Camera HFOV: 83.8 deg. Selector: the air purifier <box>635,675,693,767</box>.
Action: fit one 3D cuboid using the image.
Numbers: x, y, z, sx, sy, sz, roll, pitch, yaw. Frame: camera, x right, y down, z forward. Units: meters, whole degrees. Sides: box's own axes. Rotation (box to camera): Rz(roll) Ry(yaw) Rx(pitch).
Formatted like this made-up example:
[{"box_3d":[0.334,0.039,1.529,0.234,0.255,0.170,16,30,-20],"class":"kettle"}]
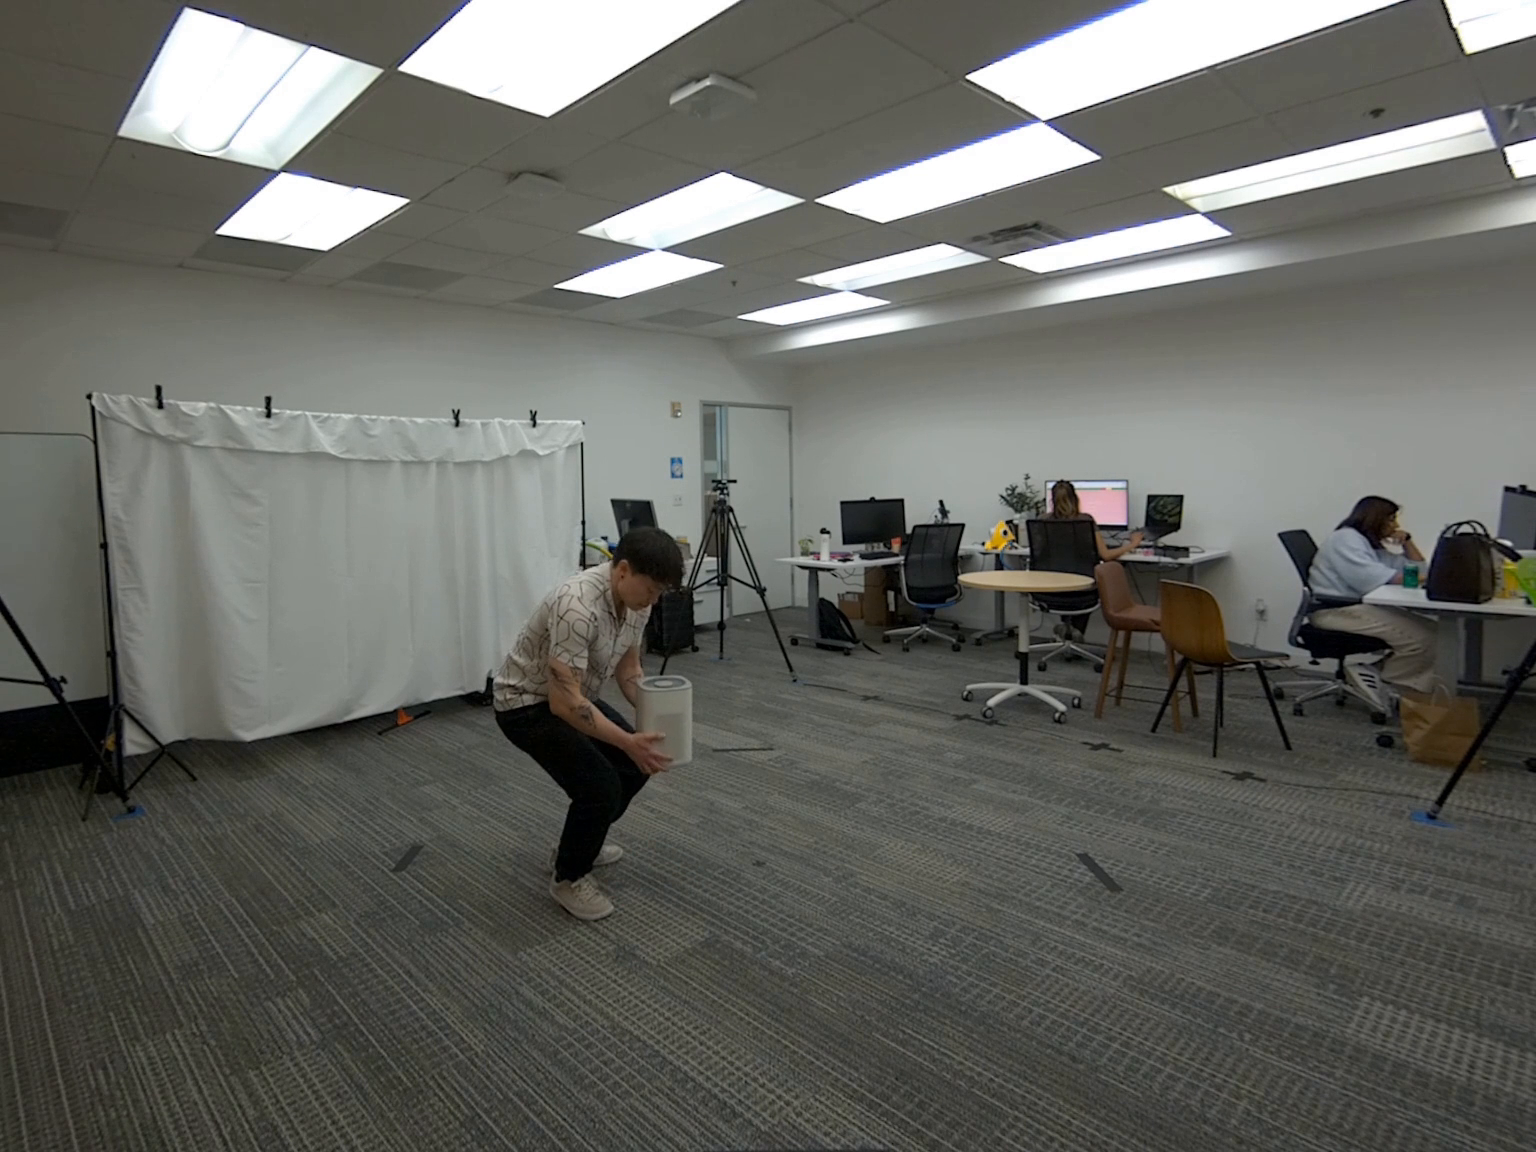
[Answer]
[{"box_3d":[-0.350,0.473,2.759,0.168,0.264,0.175,0,7,-16],"class":"air purifier"}]
